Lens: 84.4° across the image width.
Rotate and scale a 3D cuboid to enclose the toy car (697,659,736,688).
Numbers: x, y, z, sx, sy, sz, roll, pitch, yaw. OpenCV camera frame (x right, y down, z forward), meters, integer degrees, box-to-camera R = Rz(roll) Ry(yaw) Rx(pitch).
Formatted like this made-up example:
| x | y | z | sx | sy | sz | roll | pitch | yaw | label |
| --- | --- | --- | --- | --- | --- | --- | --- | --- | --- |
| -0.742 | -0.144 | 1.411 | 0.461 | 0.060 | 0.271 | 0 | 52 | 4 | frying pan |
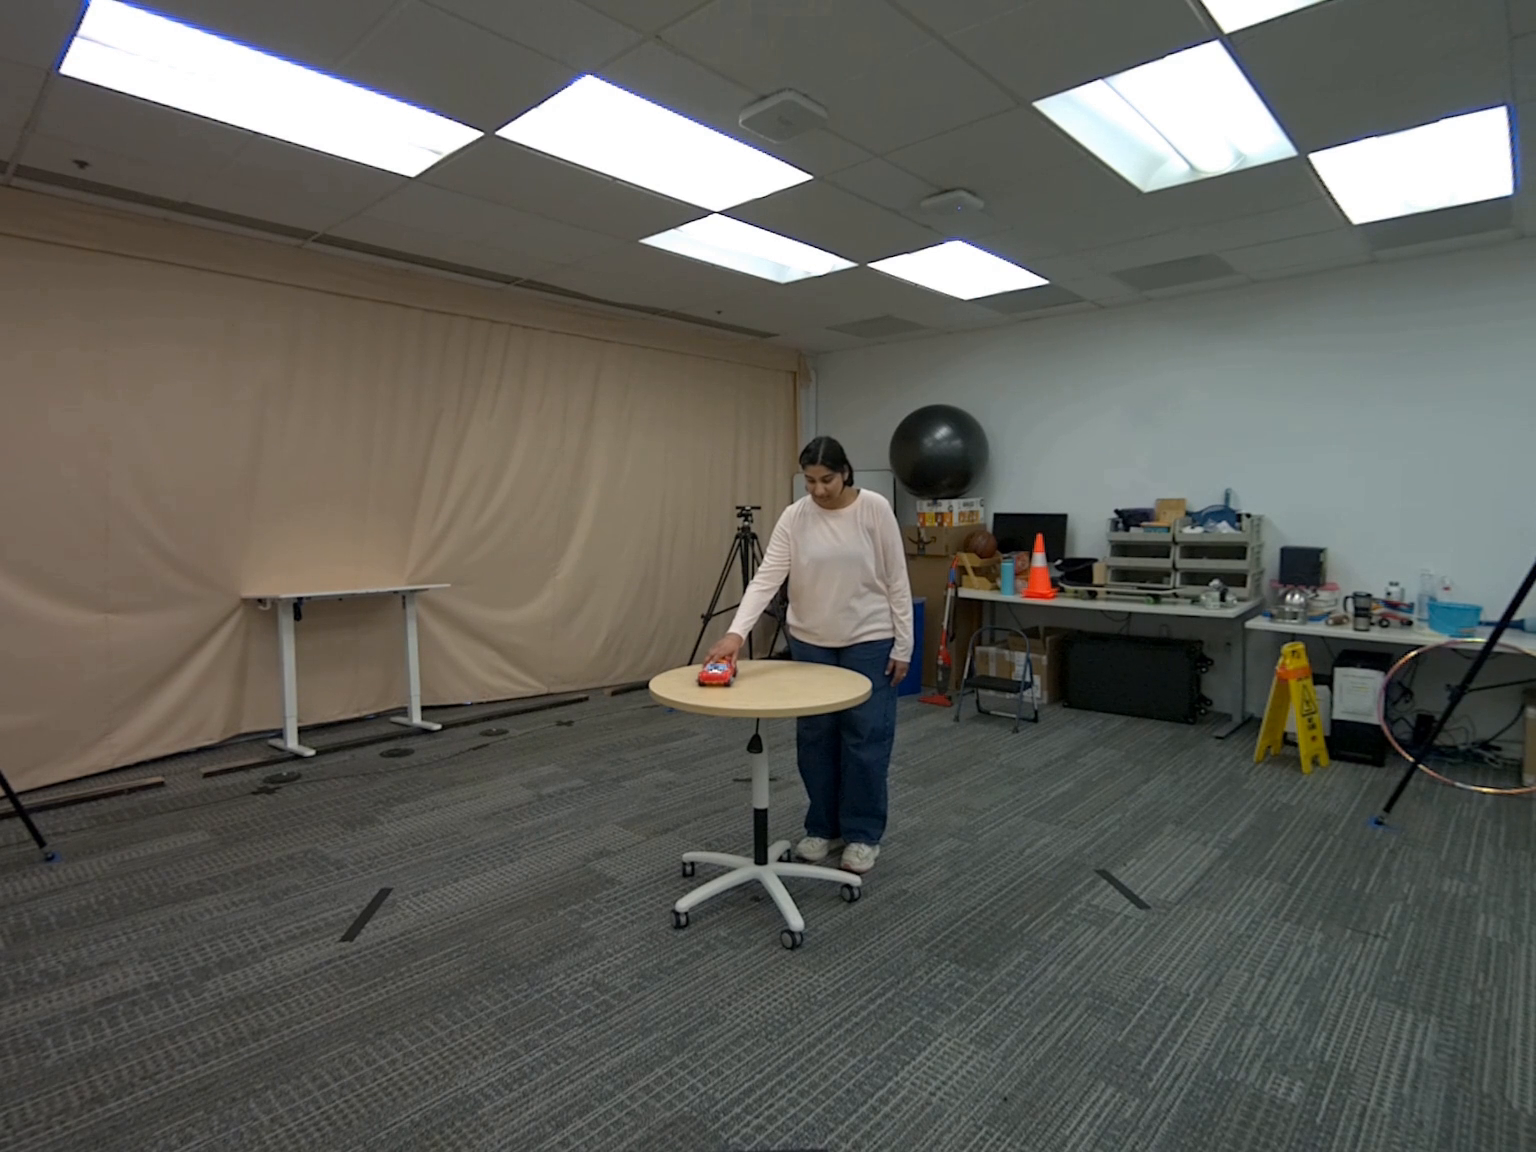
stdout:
| x | y | z | sx | sy | sz | roll | pitch | yaw | label |
| --- | --- | --- | --- | --- | --- | --- | --- | --- | --- |
| -0.171 | 0.334 | 2.949 | 0.131 | 0.082 | 0.256 | -2 | 17 | 3 | toy car |
